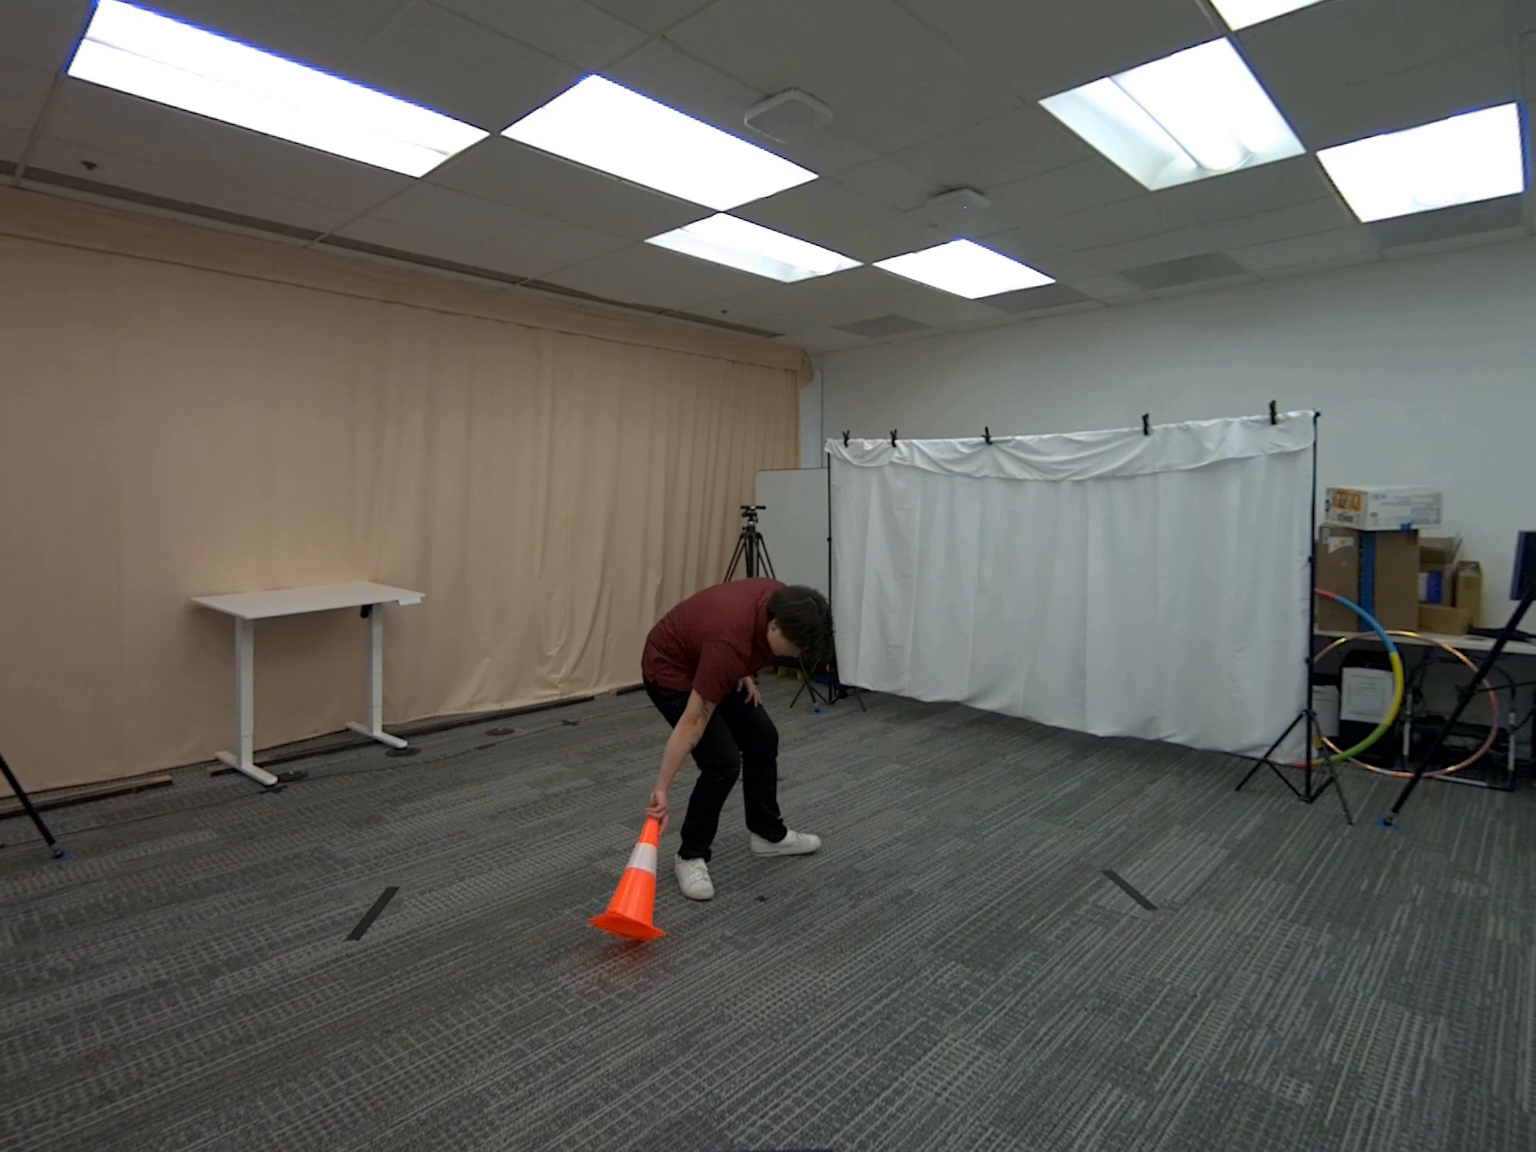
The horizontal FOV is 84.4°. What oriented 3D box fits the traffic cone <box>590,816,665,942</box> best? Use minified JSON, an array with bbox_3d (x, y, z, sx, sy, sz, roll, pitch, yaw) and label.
[{"bbox_3d":[-0.416,0.950,2.724,0.201,0.388,0.205,26,-41,-18],"label":"traffic cone"}]
